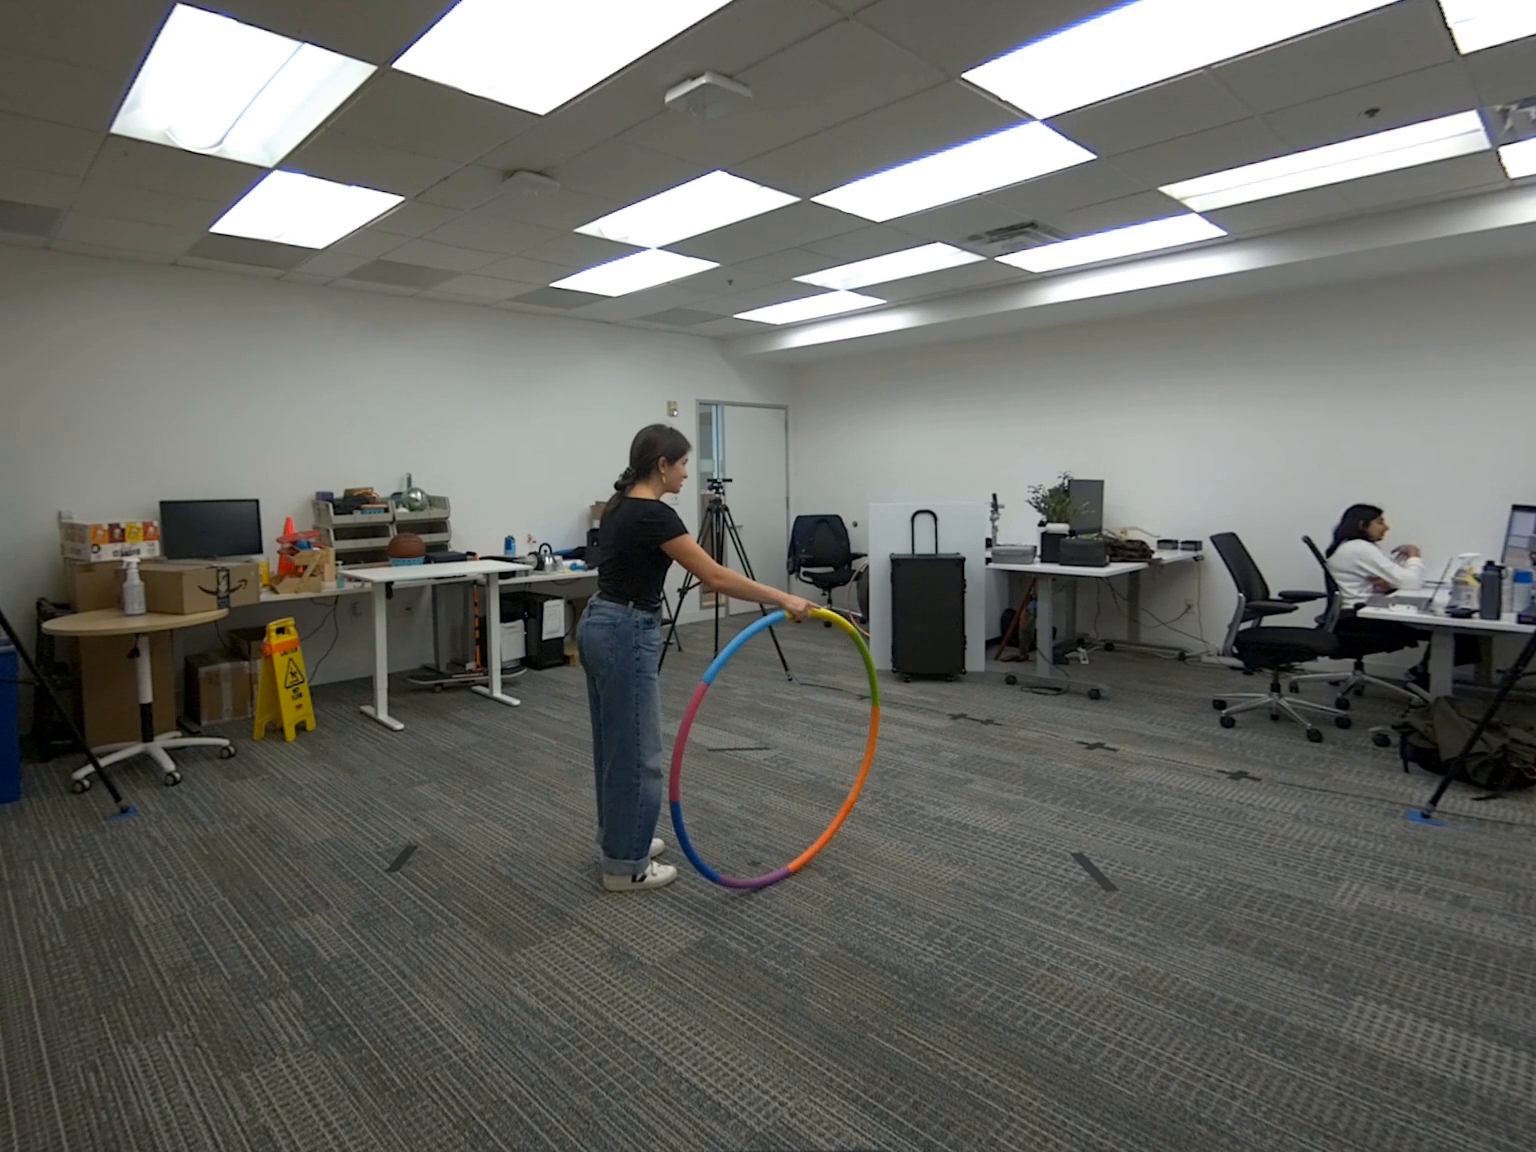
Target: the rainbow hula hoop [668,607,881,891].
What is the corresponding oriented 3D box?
[{"bbox_3d":[0.055,0.584,2.915,0.953,0.971,0.037,-5,12,-43],"label":"rainbow hula hoop"}]
